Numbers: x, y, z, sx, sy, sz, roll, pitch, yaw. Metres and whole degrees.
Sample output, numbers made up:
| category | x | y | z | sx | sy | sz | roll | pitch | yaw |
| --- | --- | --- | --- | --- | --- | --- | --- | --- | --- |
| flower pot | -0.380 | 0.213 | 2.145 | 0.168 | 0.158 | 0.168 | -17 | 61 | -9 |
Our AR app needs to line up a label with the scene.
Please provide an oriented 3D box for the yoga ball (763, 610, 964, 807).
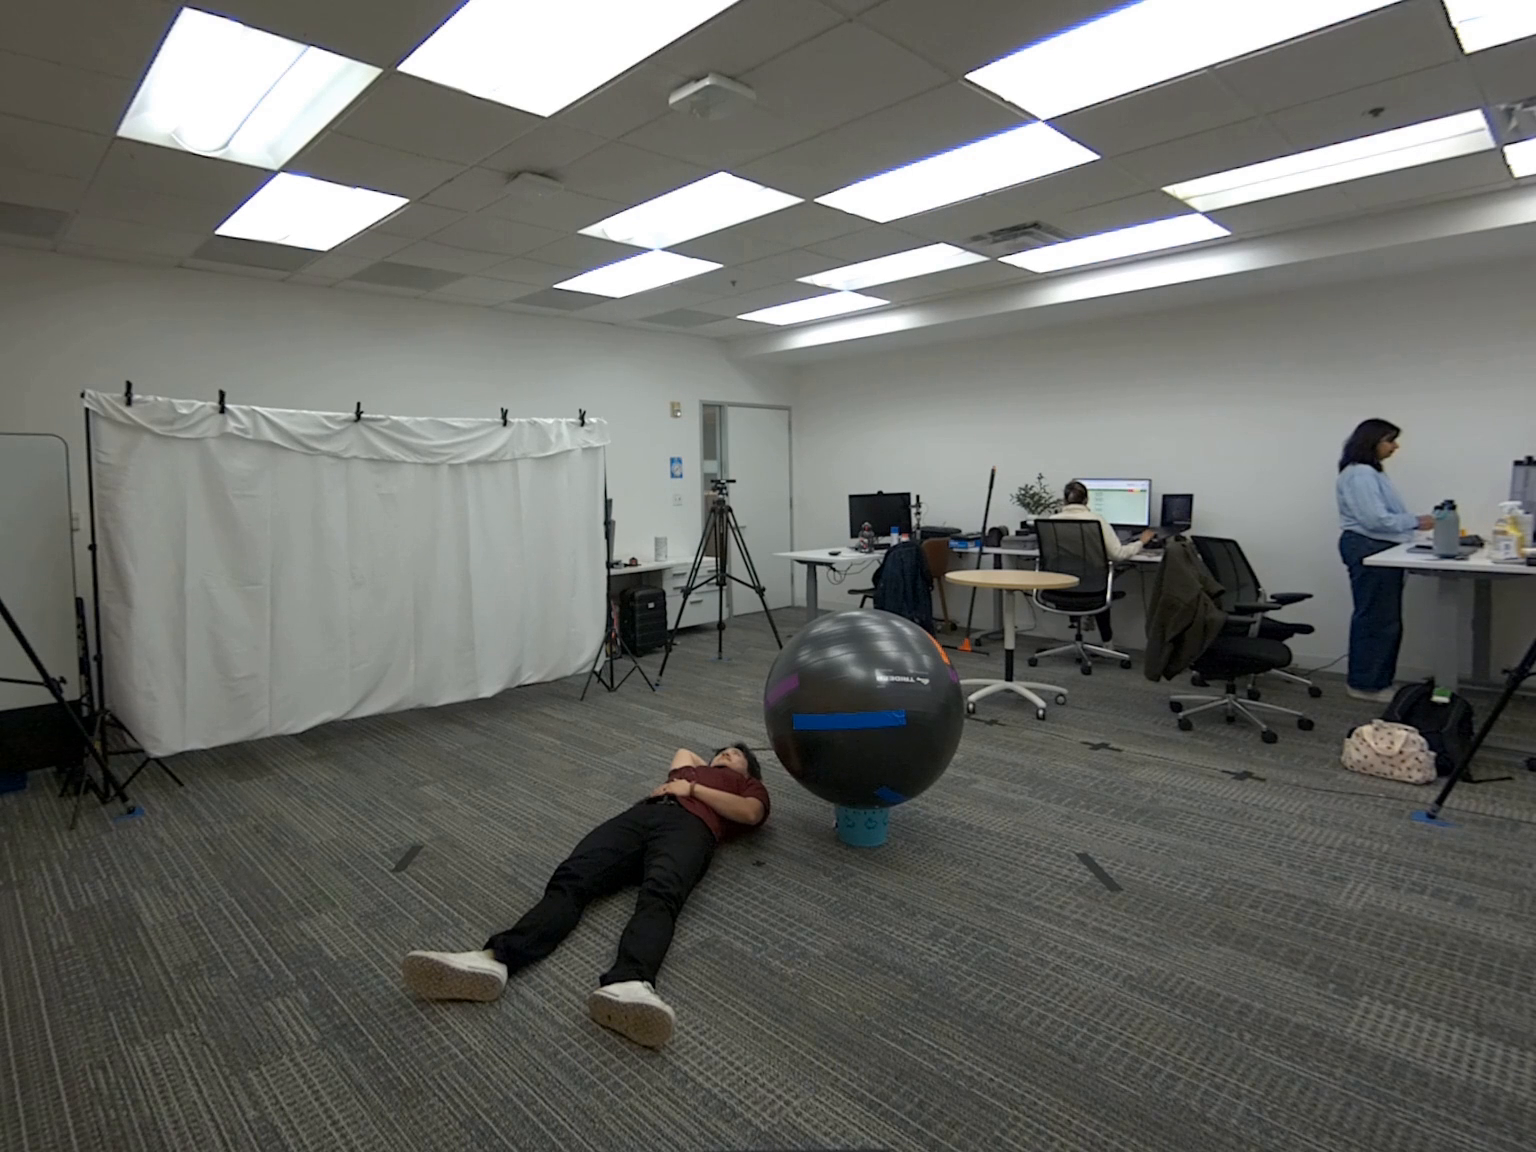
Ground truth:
| category | x | y | z | sx | sy | sz | roll | pitch | yaw |
| --- | --- | --- | --- | --- | --- | --- | --- | --- | --- |
| yoga ball | 0.366 | 0.508 | 3.297 | 0.757 | 0.755 | 0.762 | -1 | 5 | -2 |
